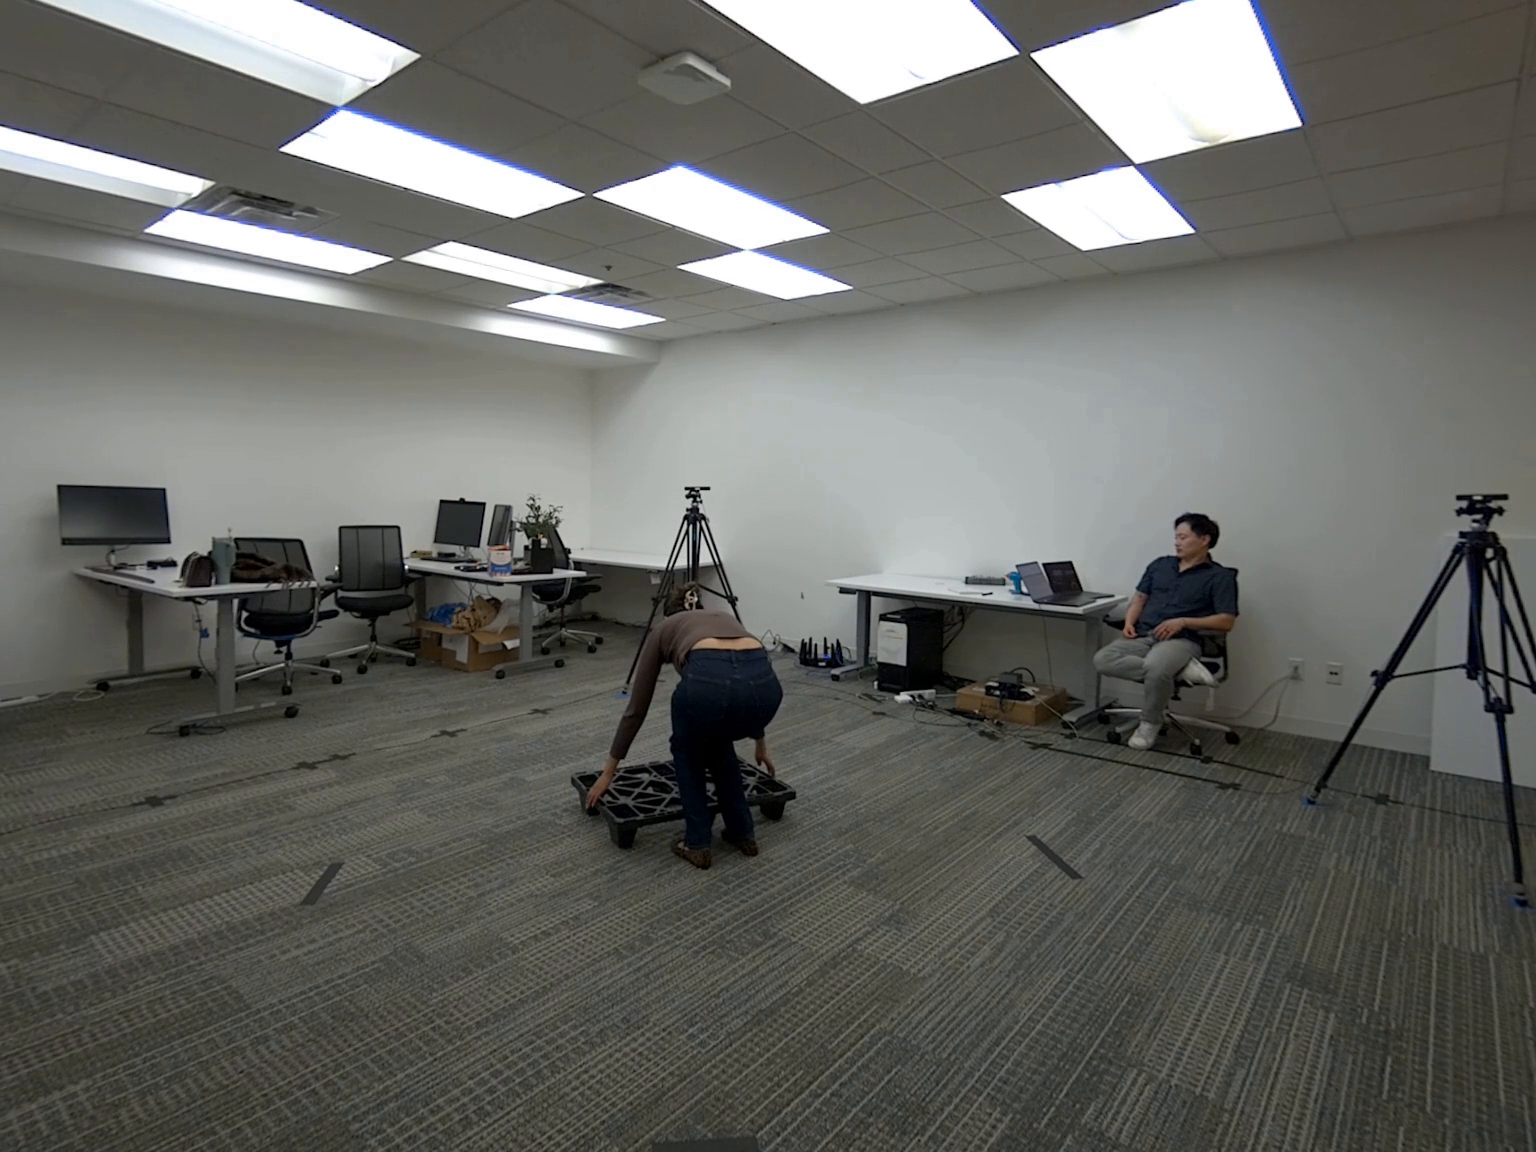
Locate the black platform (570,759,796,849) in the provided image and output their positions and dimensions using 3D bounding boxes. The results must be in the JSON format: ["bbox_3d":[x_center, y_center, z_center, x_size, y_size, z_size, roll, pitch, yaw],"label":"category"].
[{"bbox_3d":[-0.380,0.947,3.634,0.785,0.143,0.623,-3,7,-29],"label":"black platform"}]
